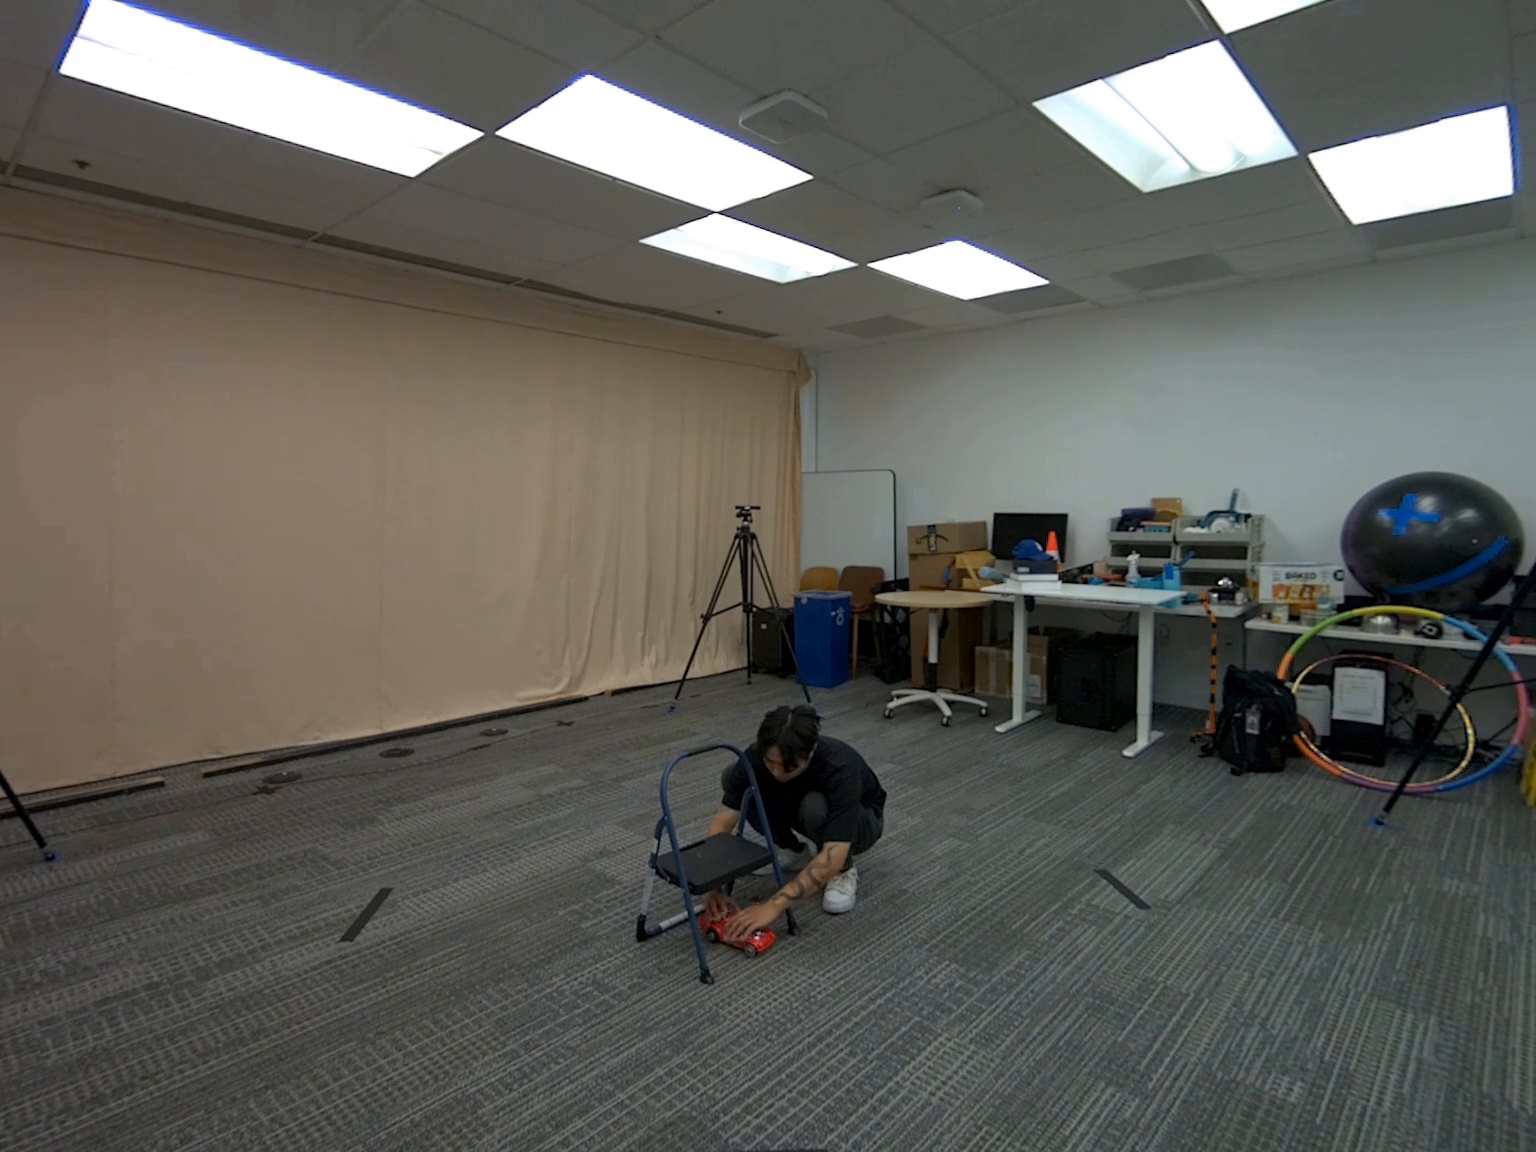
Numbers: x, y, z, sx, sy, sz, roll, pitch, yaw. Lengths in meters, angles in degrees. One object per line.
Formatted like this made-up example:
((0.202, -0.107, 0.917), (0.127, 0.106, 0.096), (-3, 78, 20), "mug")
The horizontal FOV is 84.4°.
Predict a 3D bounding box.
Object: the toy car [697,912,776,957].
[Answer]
((-0.109, 1.139, 2.698), (0.263, 0.083, 0.126), (13, 12, 34), "toy car")
